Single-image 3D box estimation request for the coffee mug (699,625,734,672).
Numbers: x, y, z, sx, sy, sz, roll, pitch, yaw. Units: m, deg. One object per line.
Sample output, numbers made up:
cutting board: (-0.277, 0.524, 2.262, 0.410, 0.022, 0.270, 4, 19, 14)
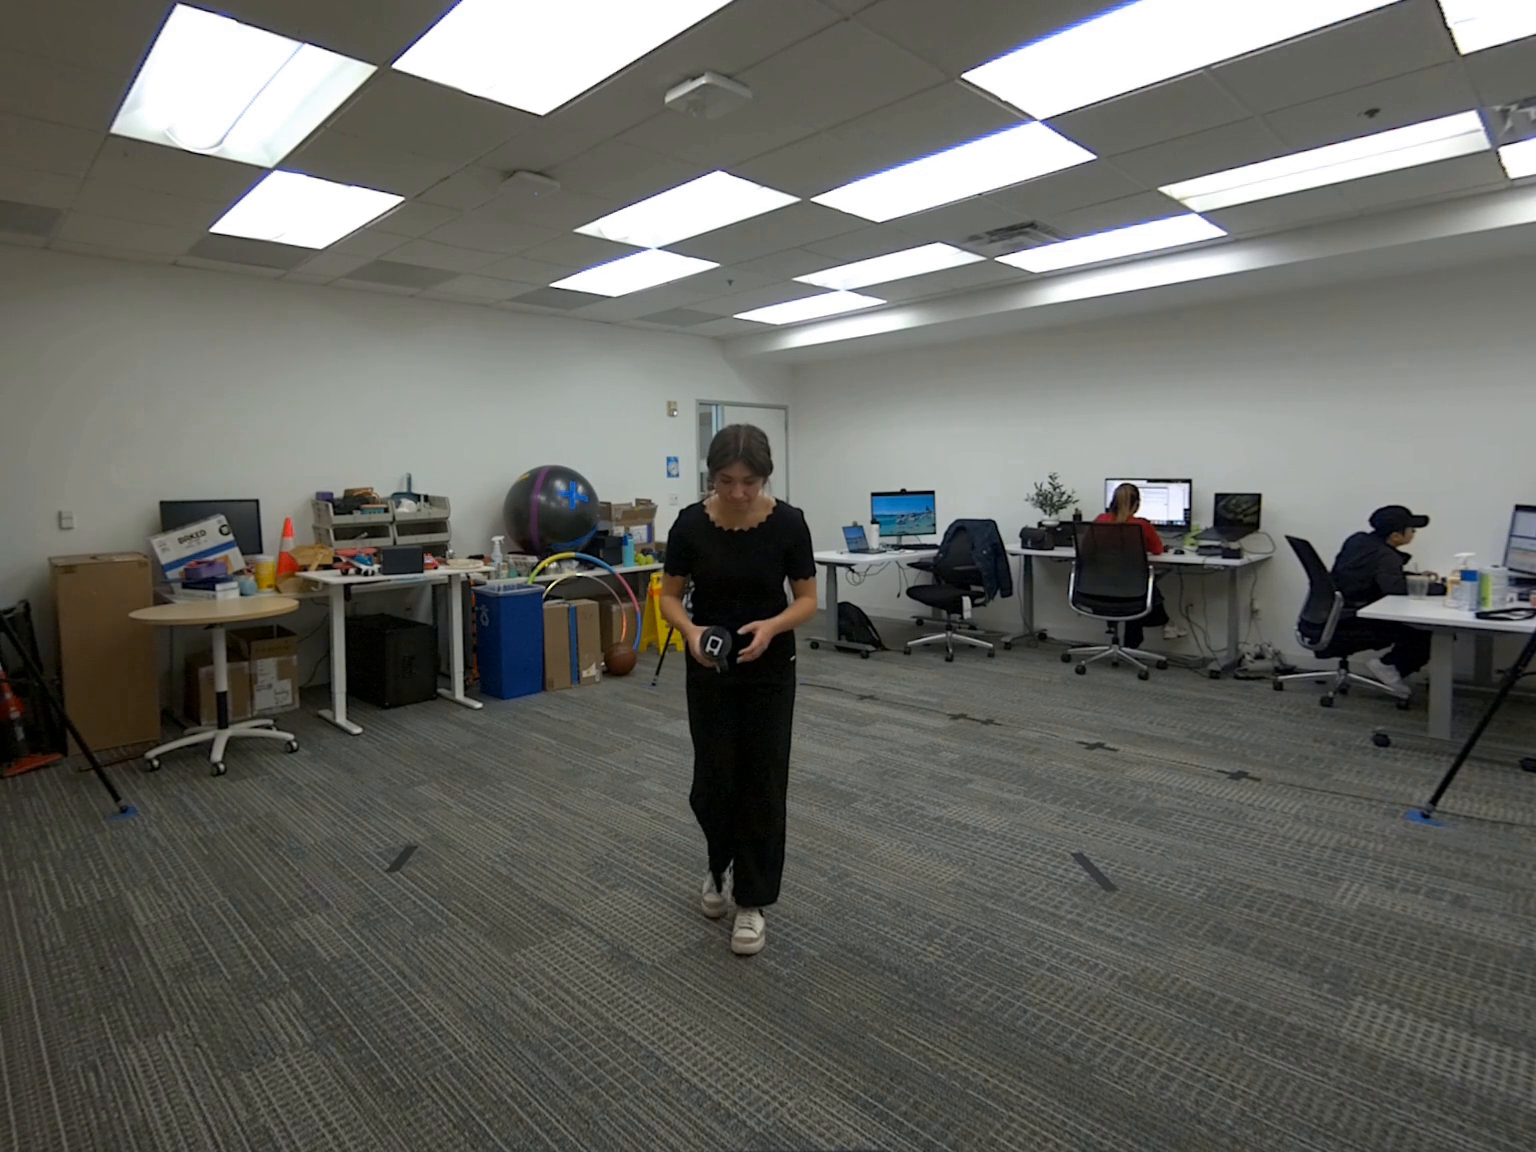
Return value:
coffee mug: (-0.164, 0.230, 2.398, 0.087, 0.124, 0.201, -27, -12, -15)
